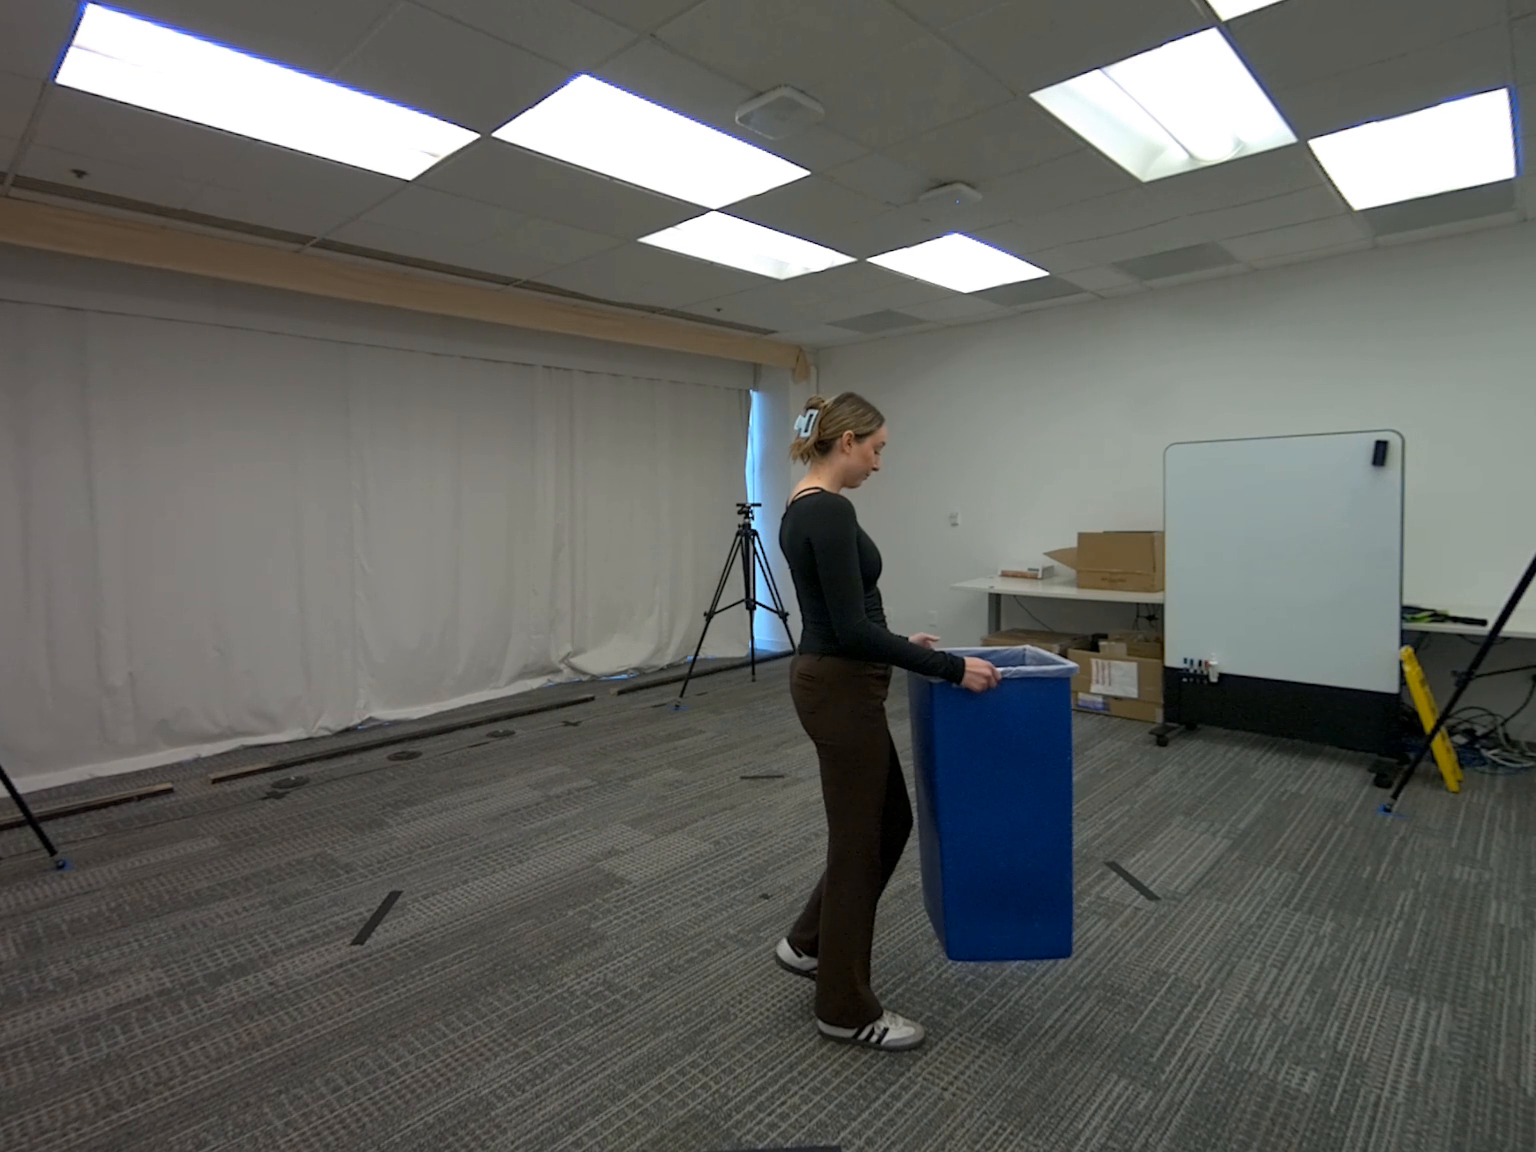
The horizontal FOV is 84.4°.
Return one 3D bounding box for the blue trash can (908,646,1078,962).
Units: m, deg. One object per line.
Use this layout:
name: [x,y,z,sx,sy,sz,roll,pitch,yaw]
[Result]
blue trash can: [0.582,0.571,2.178,0.378,0.713,0.374,-2,2,0]
